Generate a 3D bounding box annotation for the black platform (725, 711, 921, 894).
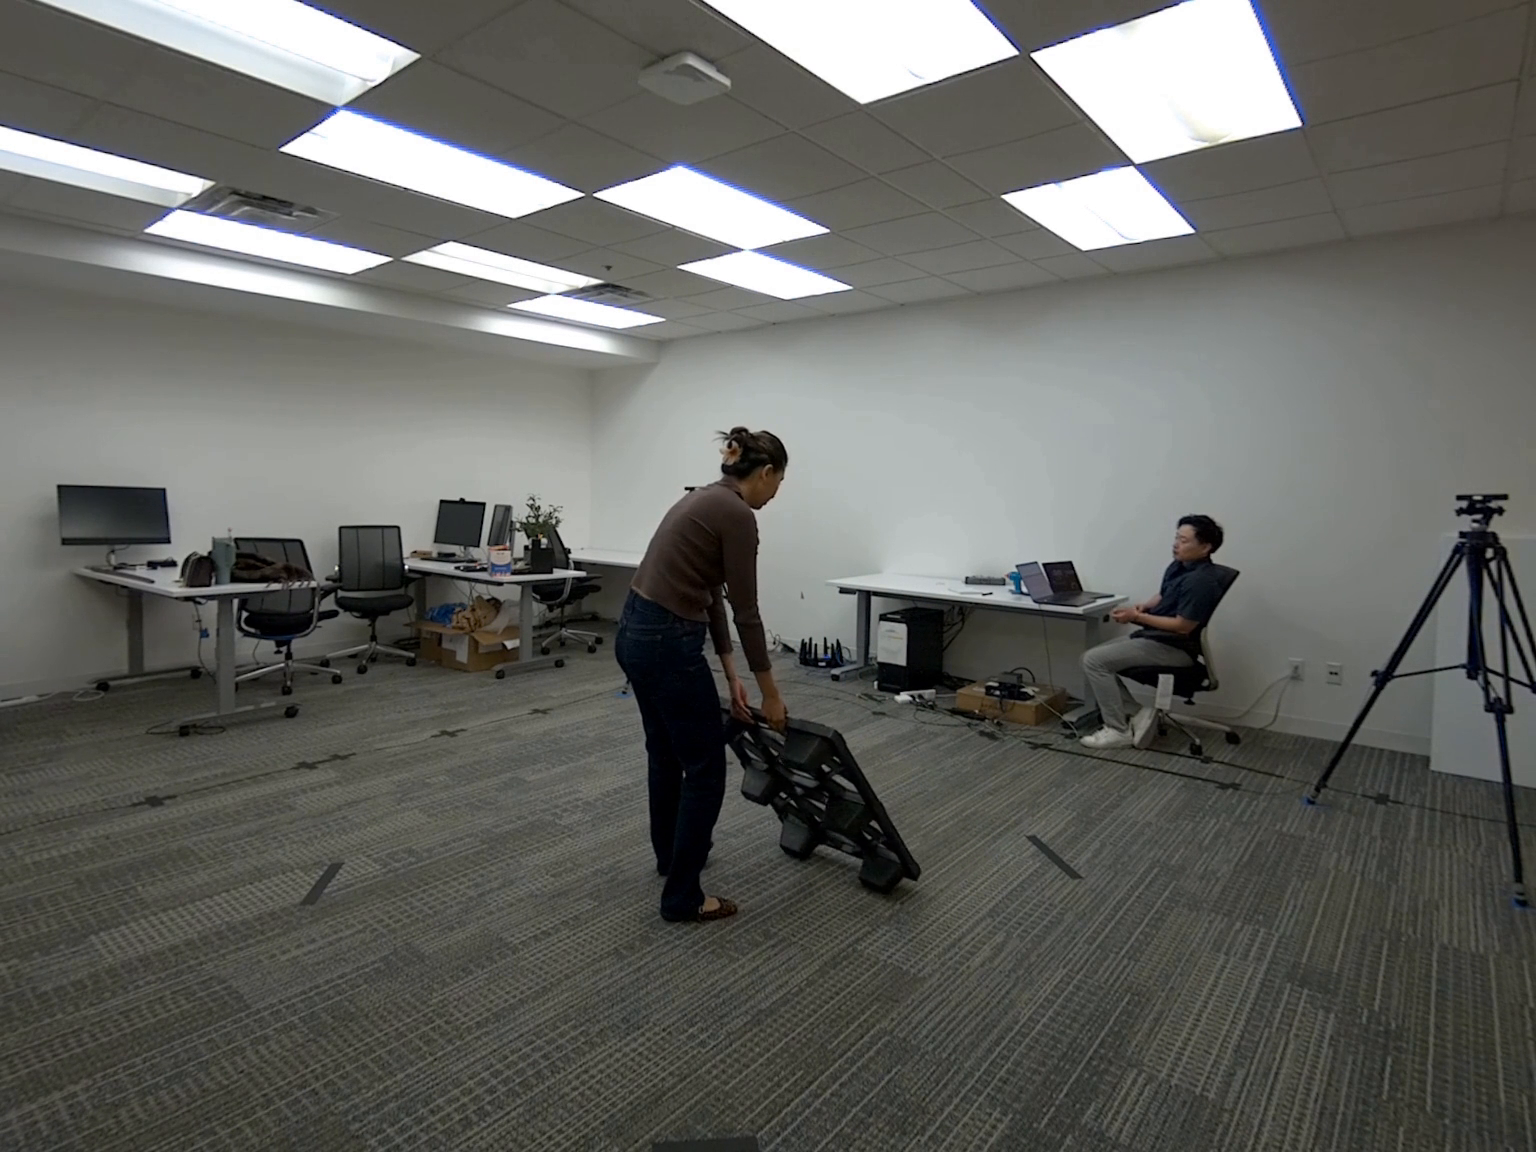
[{"bbox_3d":[0.102,0.759,2.950,0.626,0.778,0.143,4,44,44],"label":"black platform"}]
